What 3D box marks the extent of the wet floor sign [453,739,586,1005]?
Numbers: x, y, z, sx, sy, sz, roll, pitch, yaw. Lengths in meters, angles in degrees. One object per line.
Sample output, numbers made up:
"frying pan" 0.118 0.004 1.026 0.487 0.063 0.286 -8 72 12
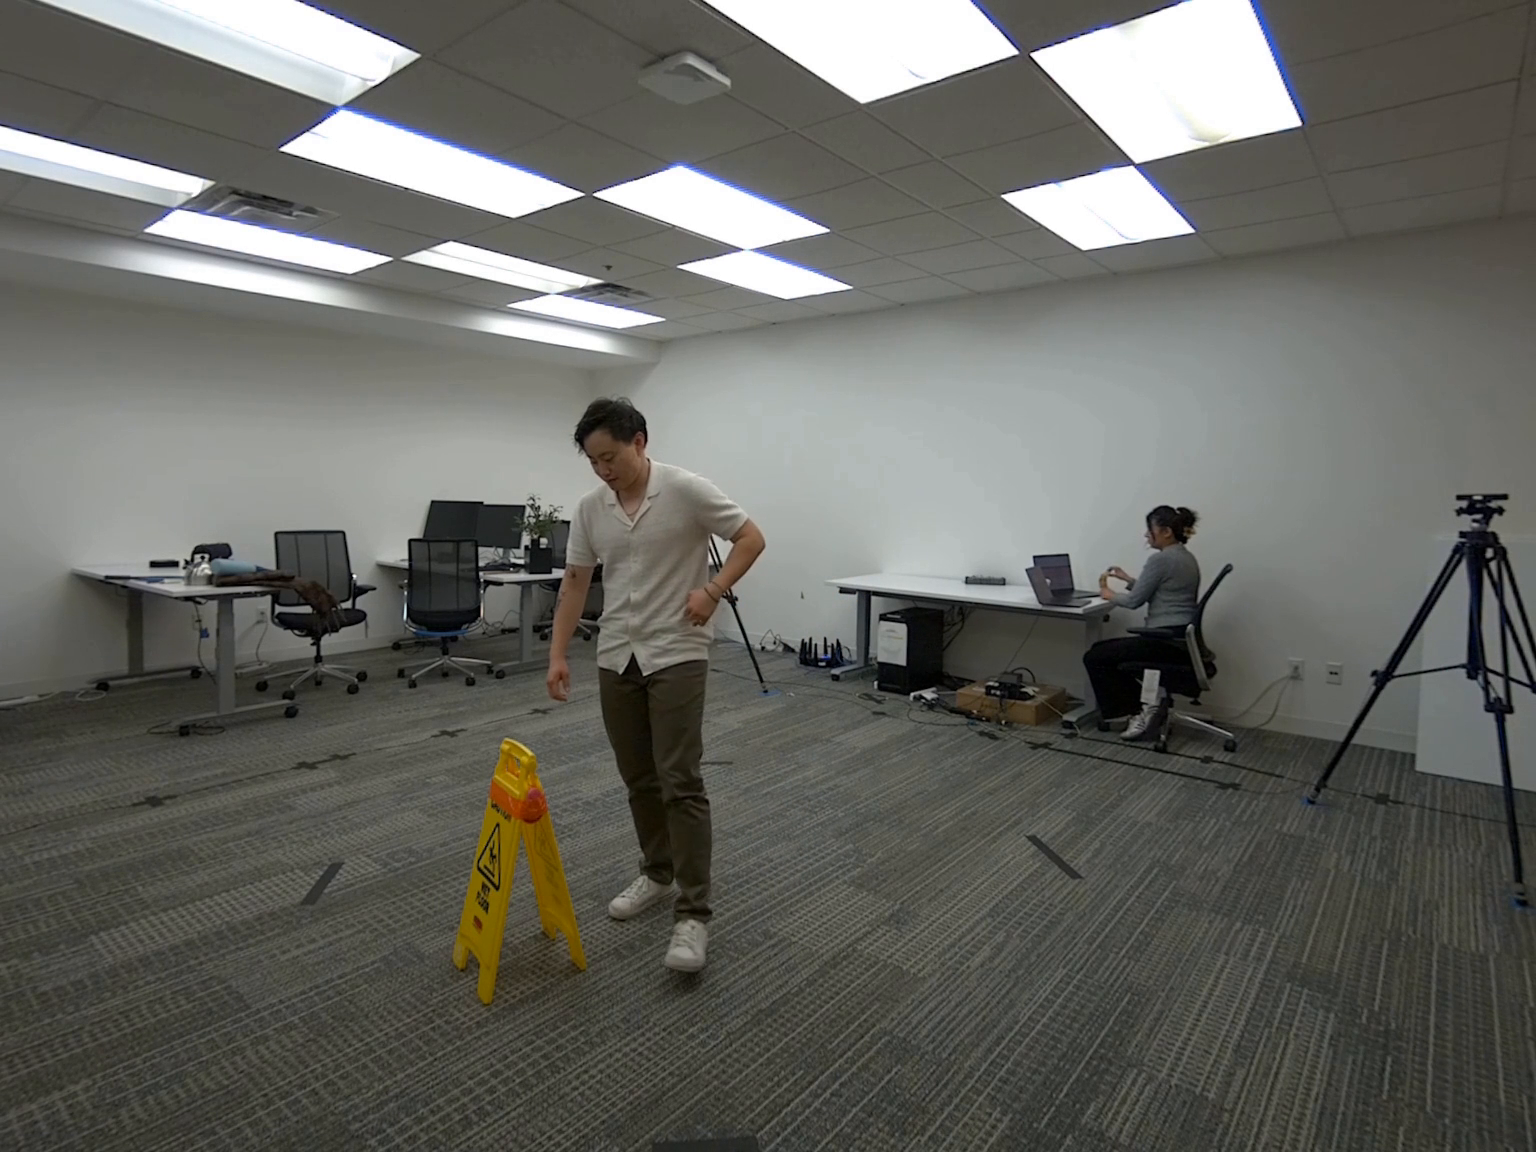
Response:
"wet floor sign" -0.724 0.804 2.447 0.281 0.644 0.292 -2 5 -39
